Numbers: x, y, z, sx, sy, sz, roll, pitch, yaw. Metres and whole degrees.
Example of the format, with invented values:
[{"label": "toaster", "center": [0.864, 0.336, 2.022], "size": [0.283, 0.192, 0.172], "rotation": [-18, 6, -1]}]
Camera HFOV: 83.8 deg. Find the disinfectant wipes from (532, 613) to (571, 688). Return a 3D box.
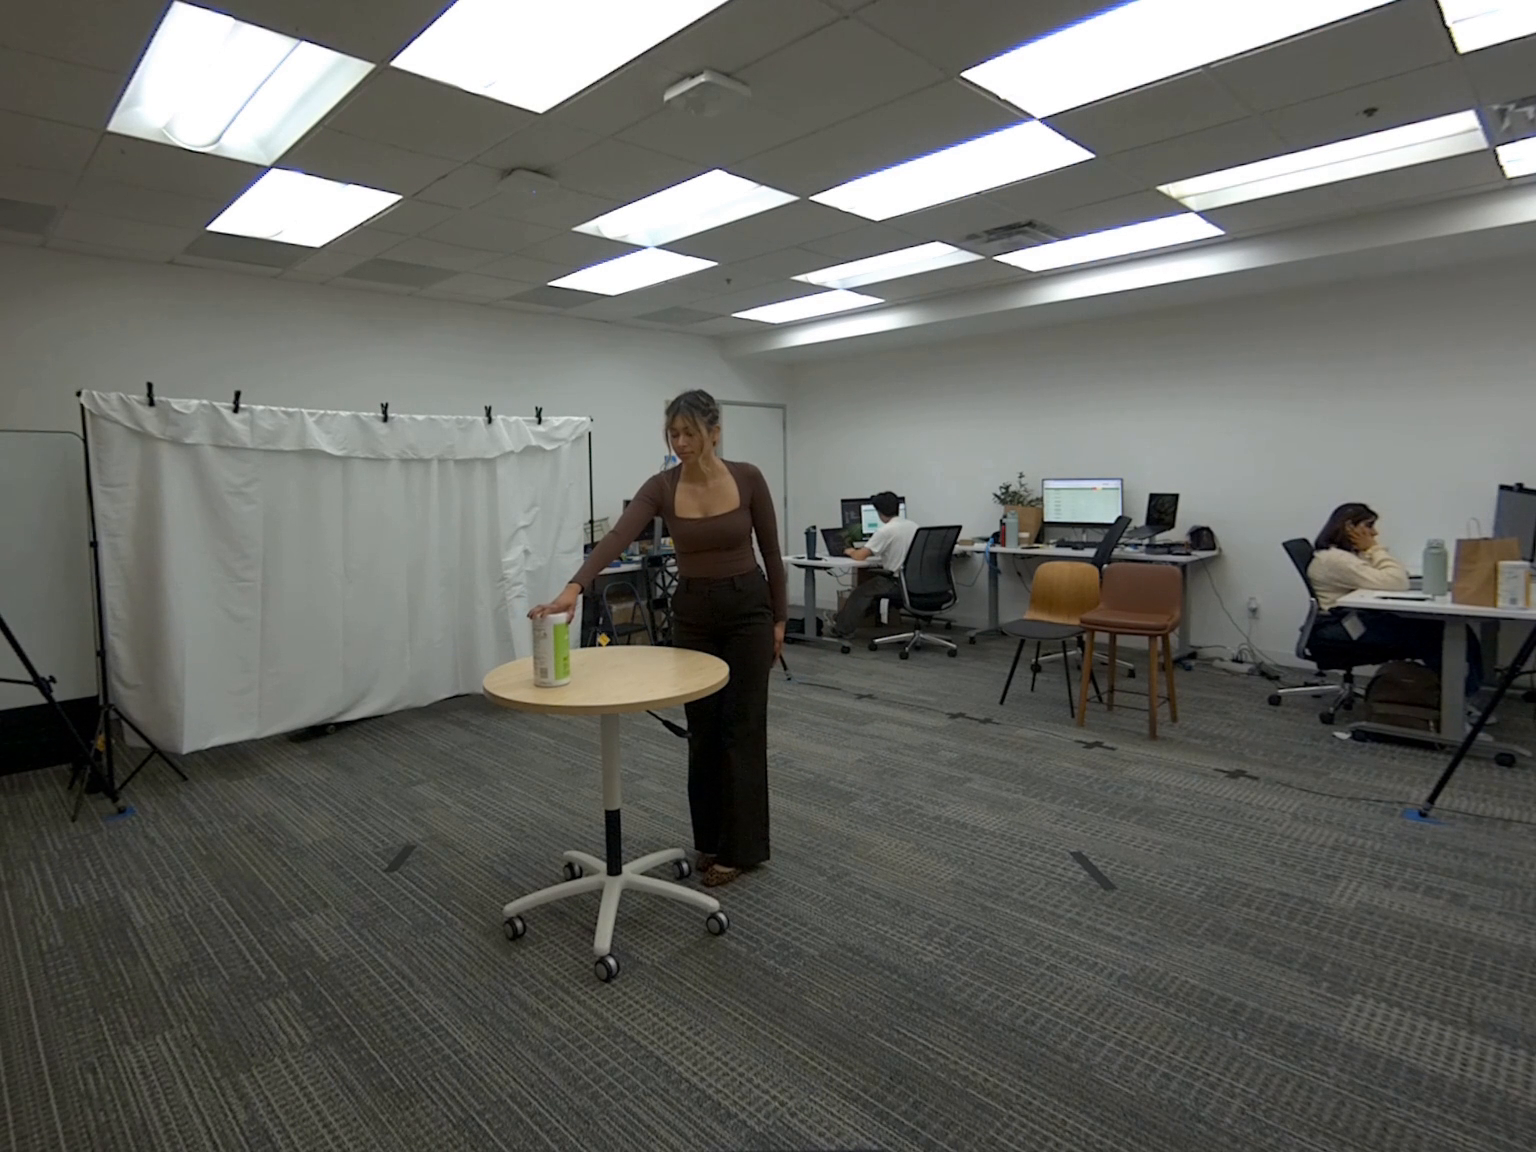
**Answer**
[{"label": "disinfectant wipes", "center": [-0.643, 0.216, 2.555], "size": [0.118, 0.217, 0.118], "rotation": [0, 2, -2]}]
